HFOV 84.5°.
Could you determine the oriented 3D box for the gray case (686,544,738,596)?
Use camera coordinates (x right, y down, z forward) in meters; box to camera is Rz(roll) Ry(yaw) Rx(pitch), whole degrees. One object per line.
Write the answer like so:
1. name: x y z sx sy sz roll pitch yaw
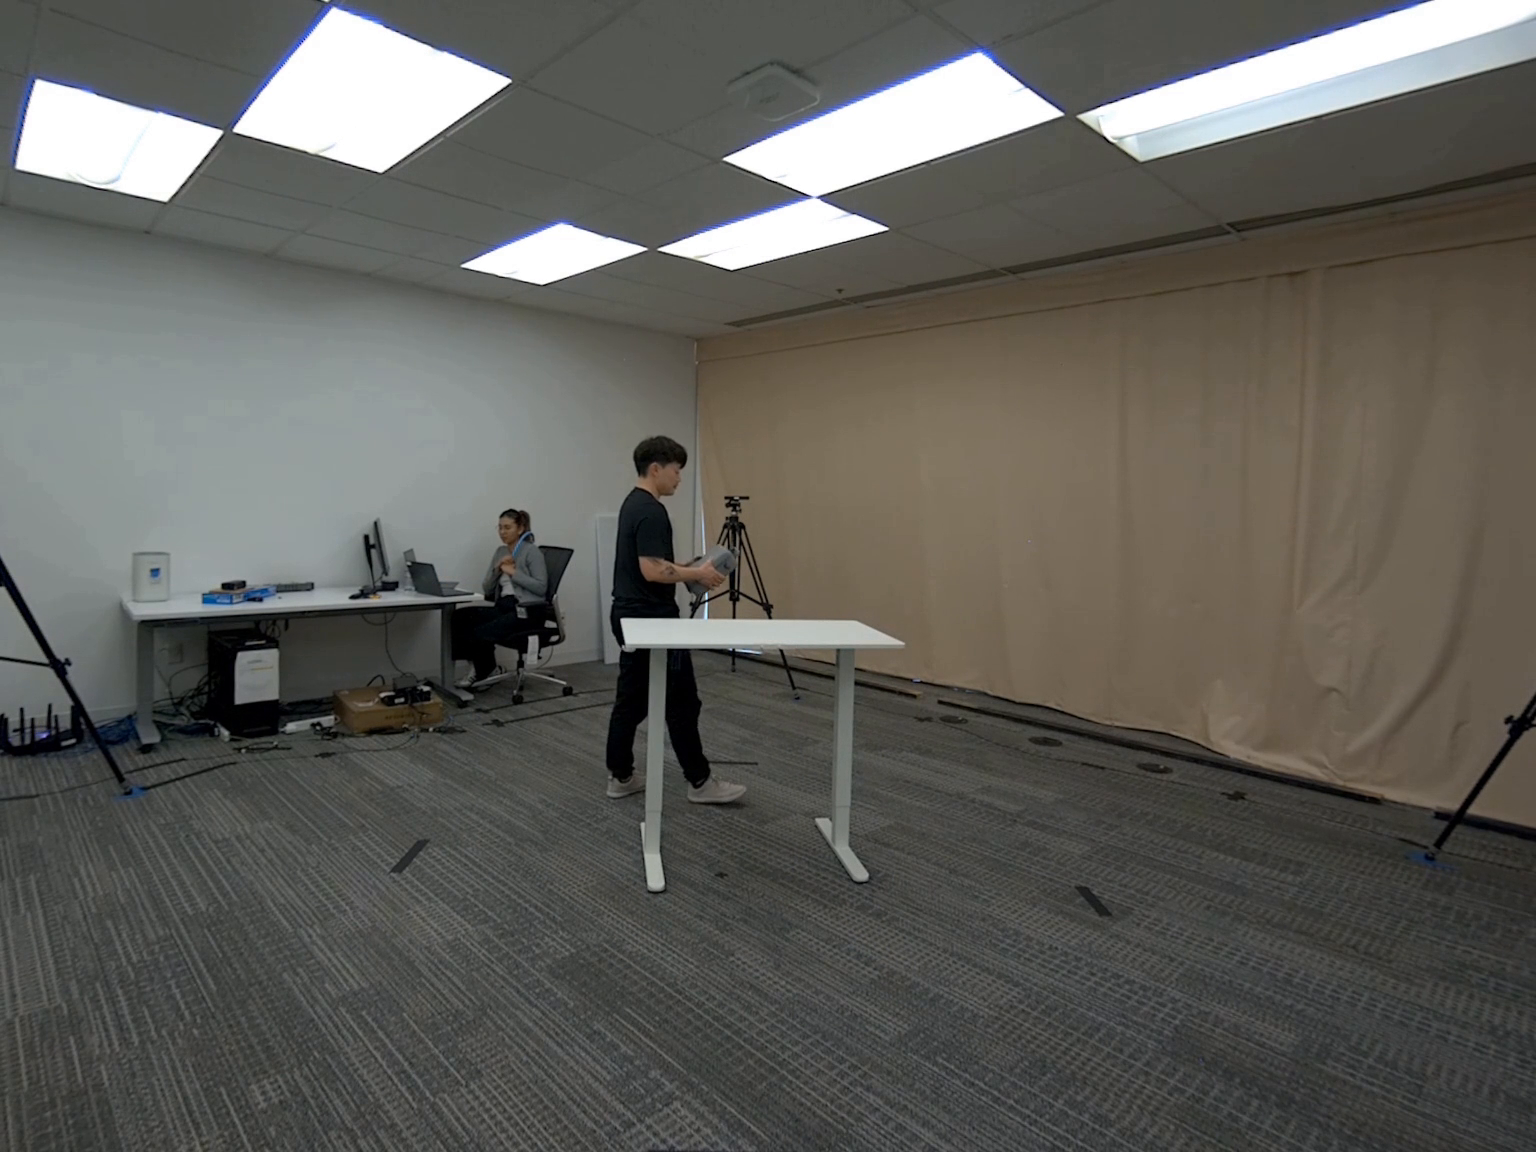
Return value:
1. gray case: -0.277 -0.036 3.952 0.260 0.103 0.260 -38 14 -2
